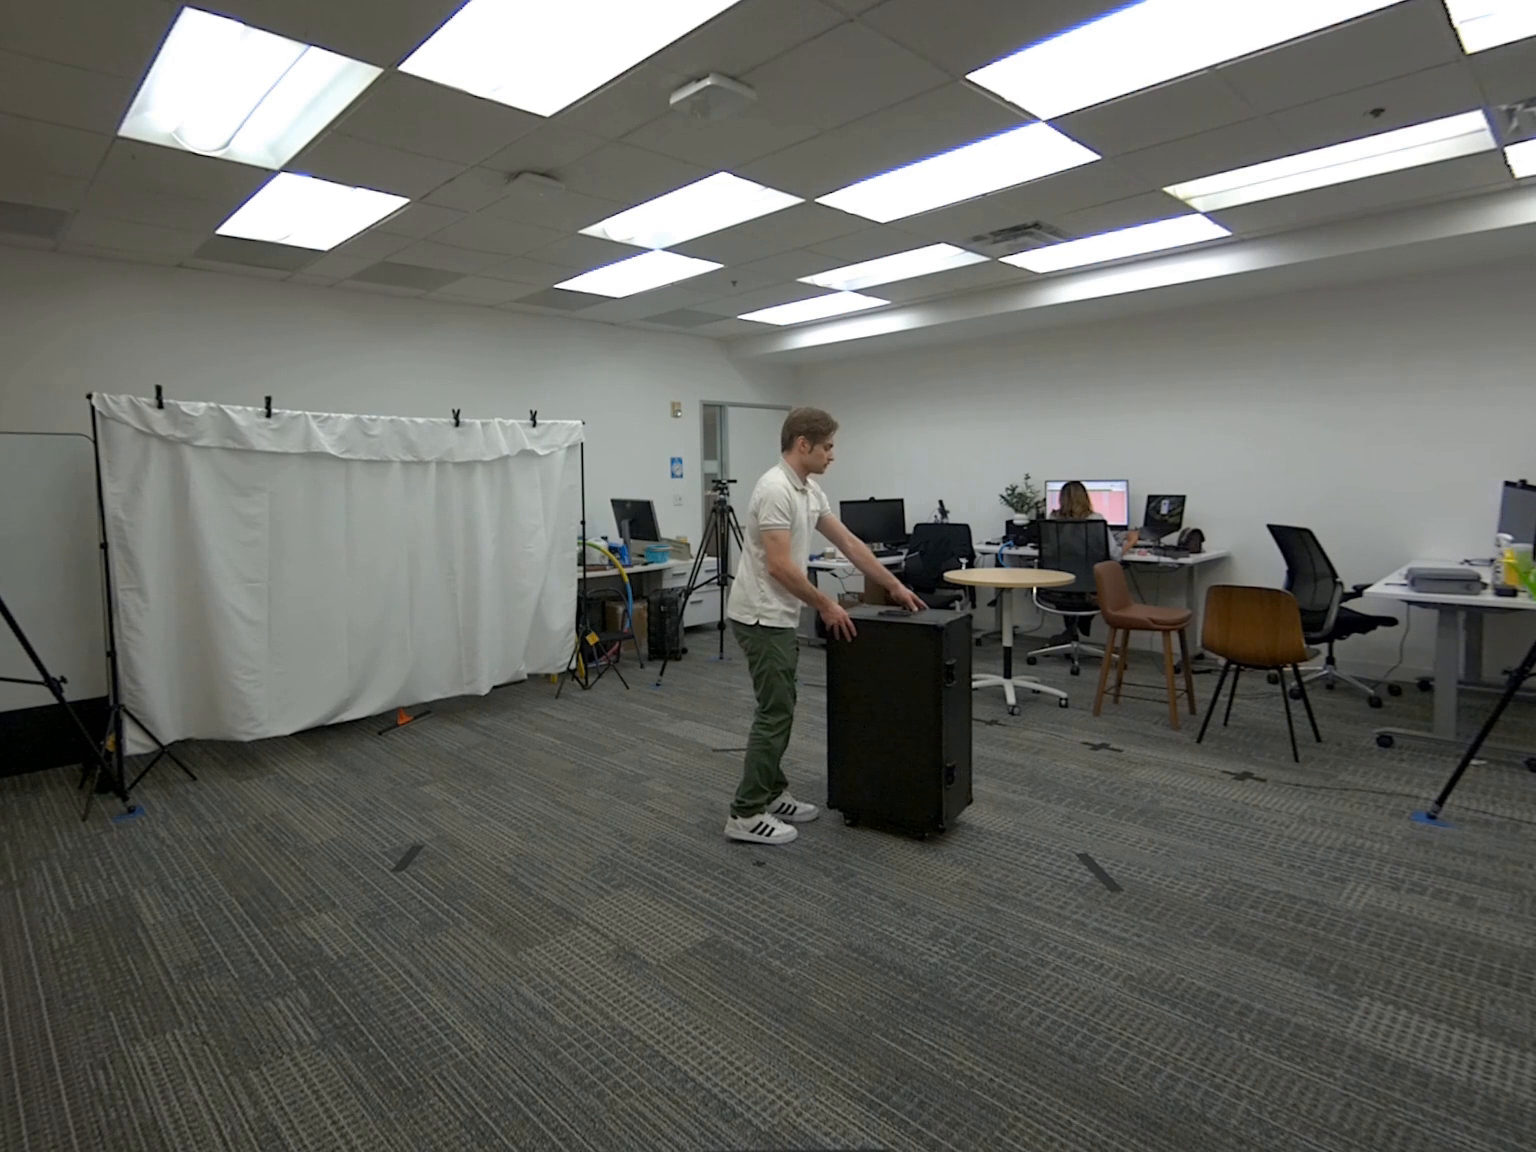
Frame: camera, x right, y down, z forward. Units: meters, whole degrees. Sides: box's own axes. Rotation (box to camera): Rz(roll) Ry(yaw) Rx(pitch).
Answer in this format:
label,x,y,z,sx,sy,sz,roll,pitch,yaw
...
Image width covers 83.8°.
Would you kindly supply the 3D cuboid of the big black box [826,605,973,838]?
label,x,y,z,sx,sy,sz,roll,pitch,yaw
big black box,0.525,0.576,3.447,0.538,0.866,0.376,2,4,32
